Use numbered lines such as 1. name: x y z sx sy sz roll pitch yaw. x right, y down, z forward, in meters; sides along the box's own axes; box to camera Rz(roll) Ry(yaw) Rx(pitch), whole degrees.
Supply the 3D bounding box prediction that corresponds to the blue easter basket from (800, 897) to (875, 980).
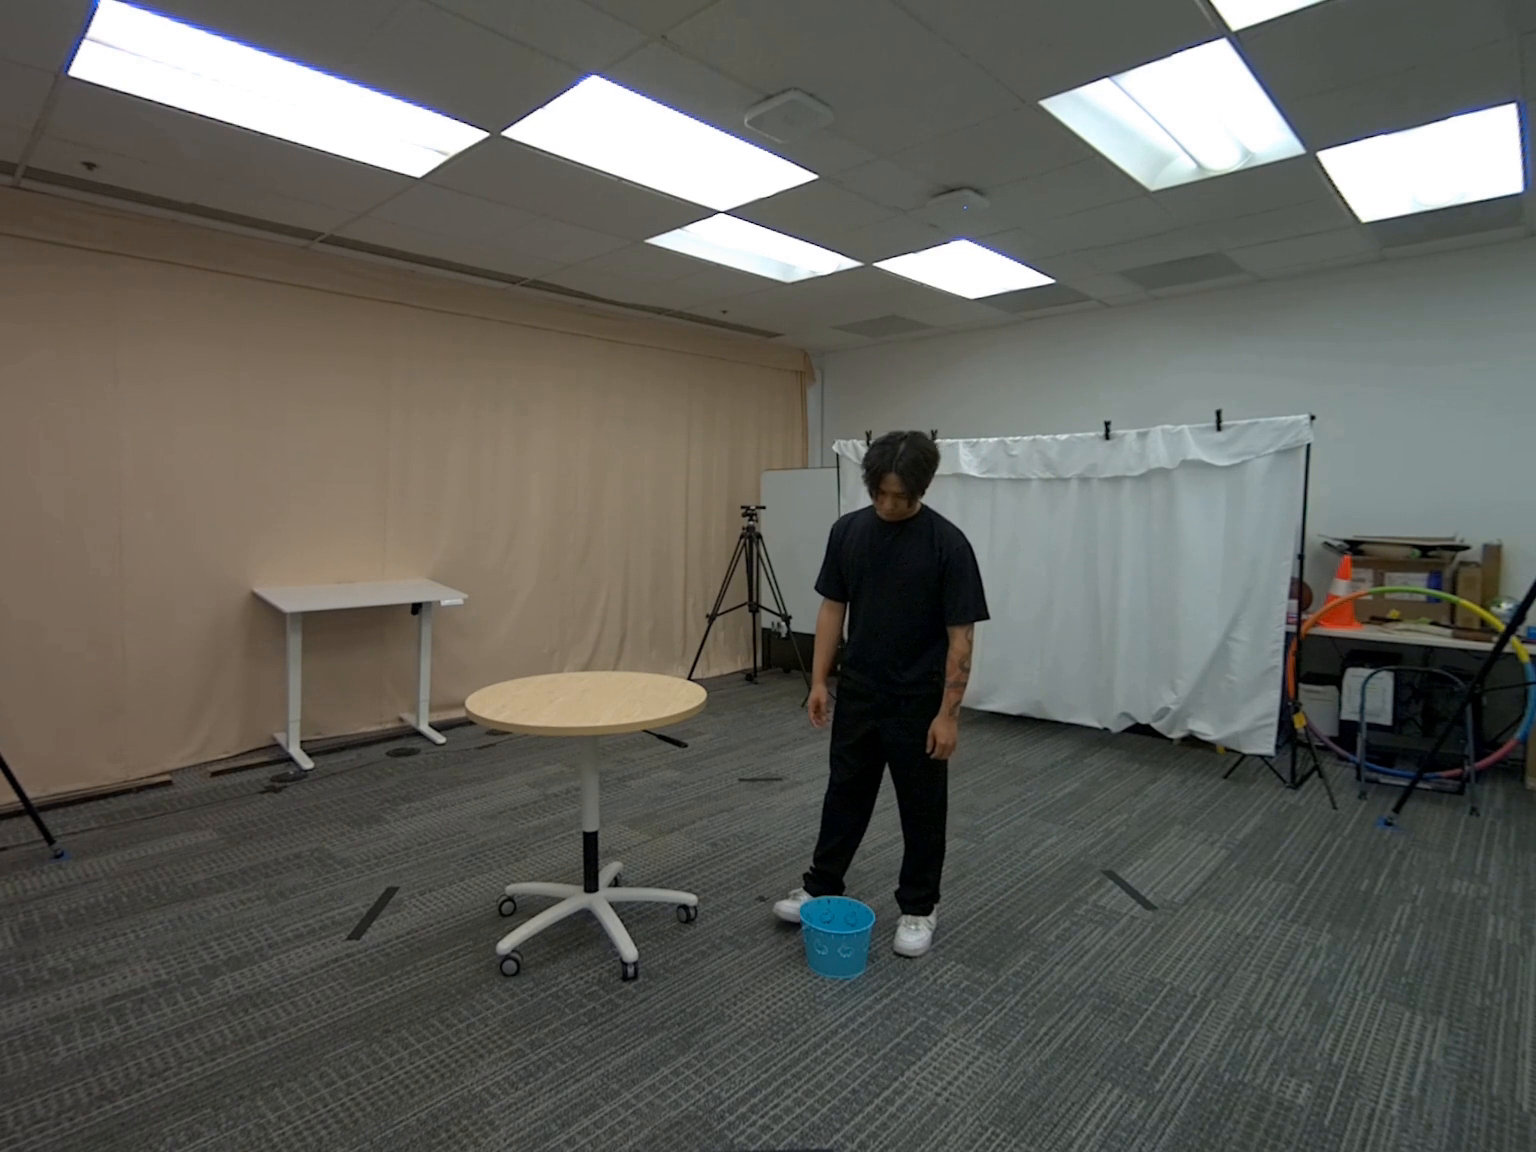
1. blue easter basket: 0.211 1.094 2.571 0.243 0.155 0.244 0 5 -2
